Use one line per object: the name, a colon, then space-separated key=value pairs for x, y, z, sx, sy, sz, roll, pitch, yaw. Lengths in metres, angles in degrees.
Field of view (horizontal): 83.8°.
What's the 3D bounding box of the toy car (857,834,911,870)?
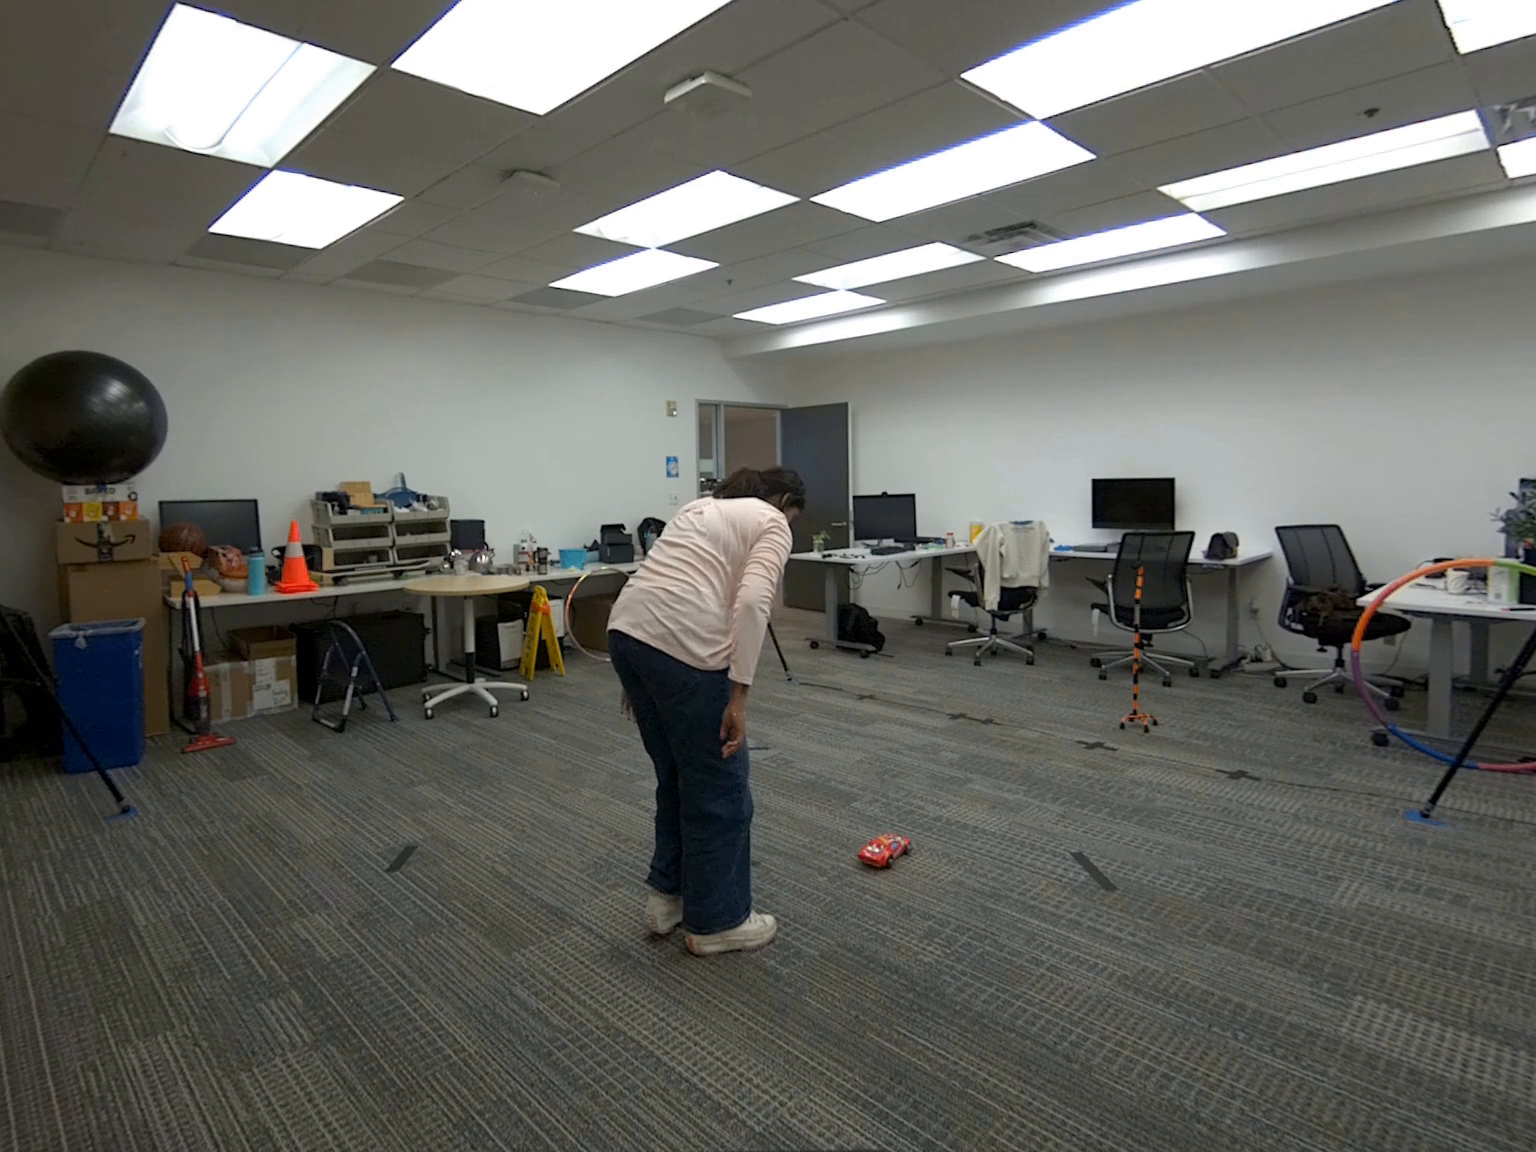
toy car: x=0.425 y=1.003 z=3.116 sx=0.134 sy=0.083 sz=0.246 roll=3 pitch=-4 yaw=38
